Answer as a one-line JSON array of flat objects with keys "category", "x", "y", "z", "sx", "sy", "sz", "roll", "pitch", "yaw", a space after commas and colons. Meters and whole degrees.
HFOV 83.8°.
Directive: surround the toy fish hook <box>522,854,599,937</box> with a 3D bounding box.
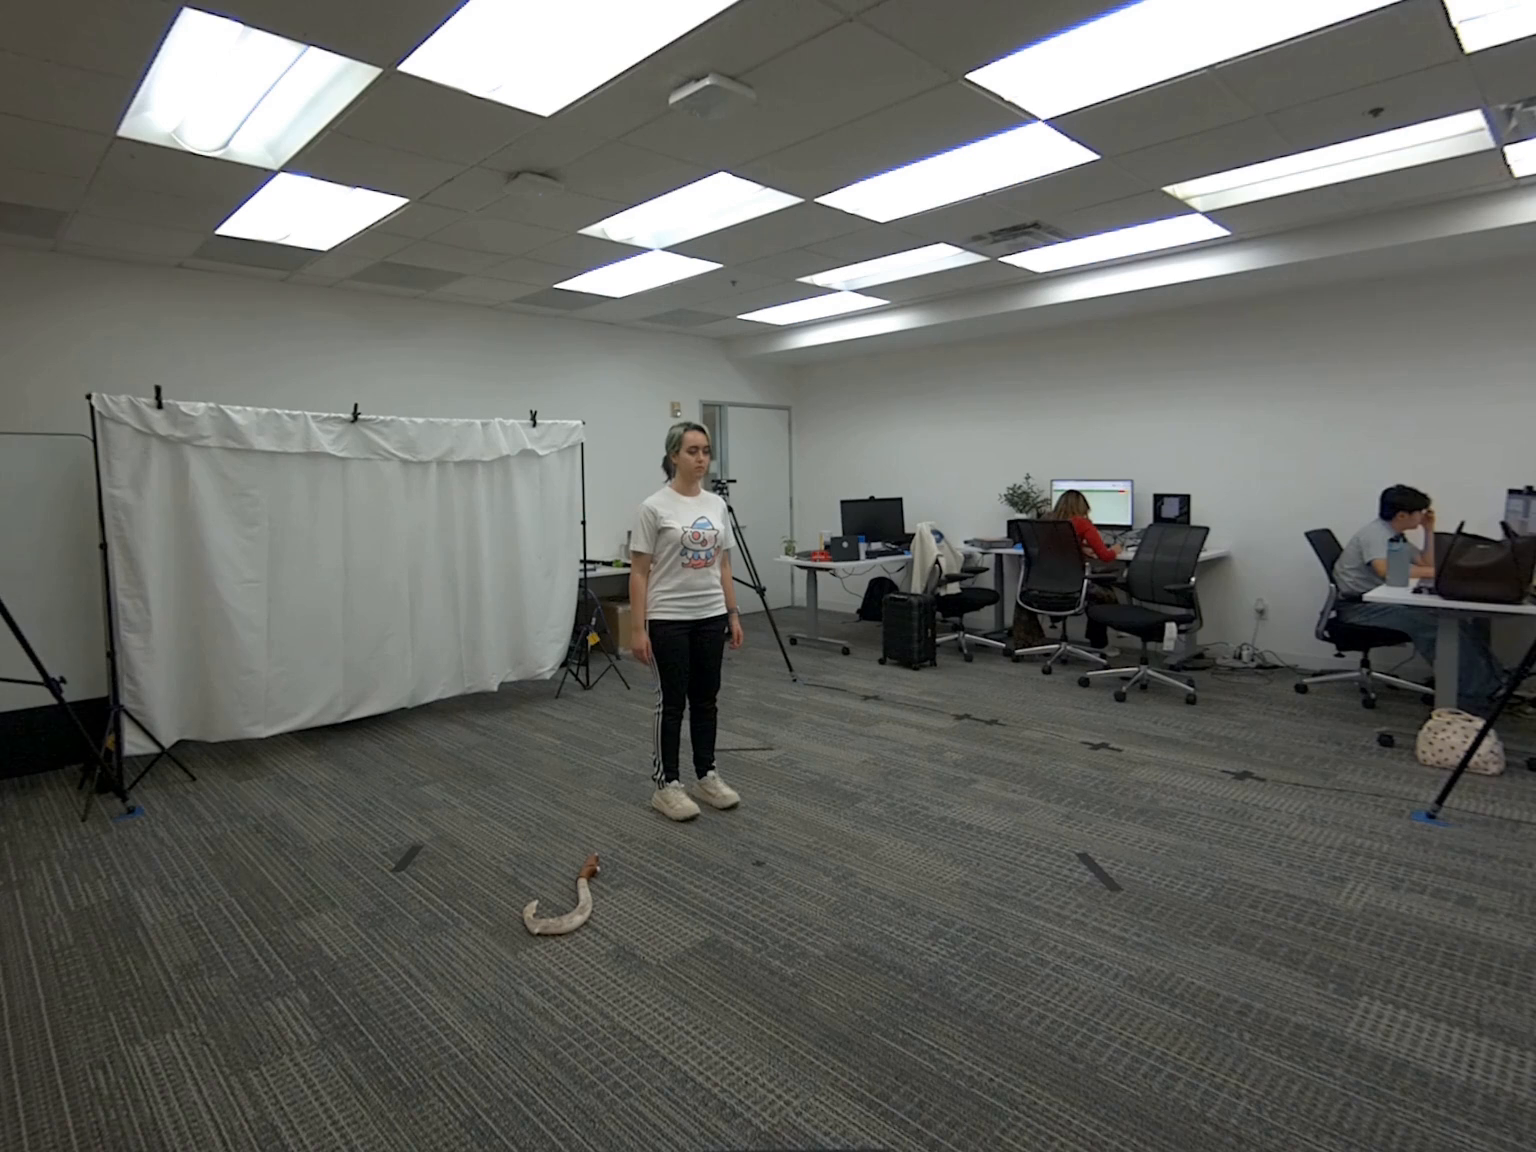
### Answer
[{"category": "toy fish hook", "x": -0.681, "y": 1.062, "z": 2.886, "sx": 0.225, "sy": 0.048, "sz": 0.509, "roll": -1, "pitch": 6, "yaw": -1}]
